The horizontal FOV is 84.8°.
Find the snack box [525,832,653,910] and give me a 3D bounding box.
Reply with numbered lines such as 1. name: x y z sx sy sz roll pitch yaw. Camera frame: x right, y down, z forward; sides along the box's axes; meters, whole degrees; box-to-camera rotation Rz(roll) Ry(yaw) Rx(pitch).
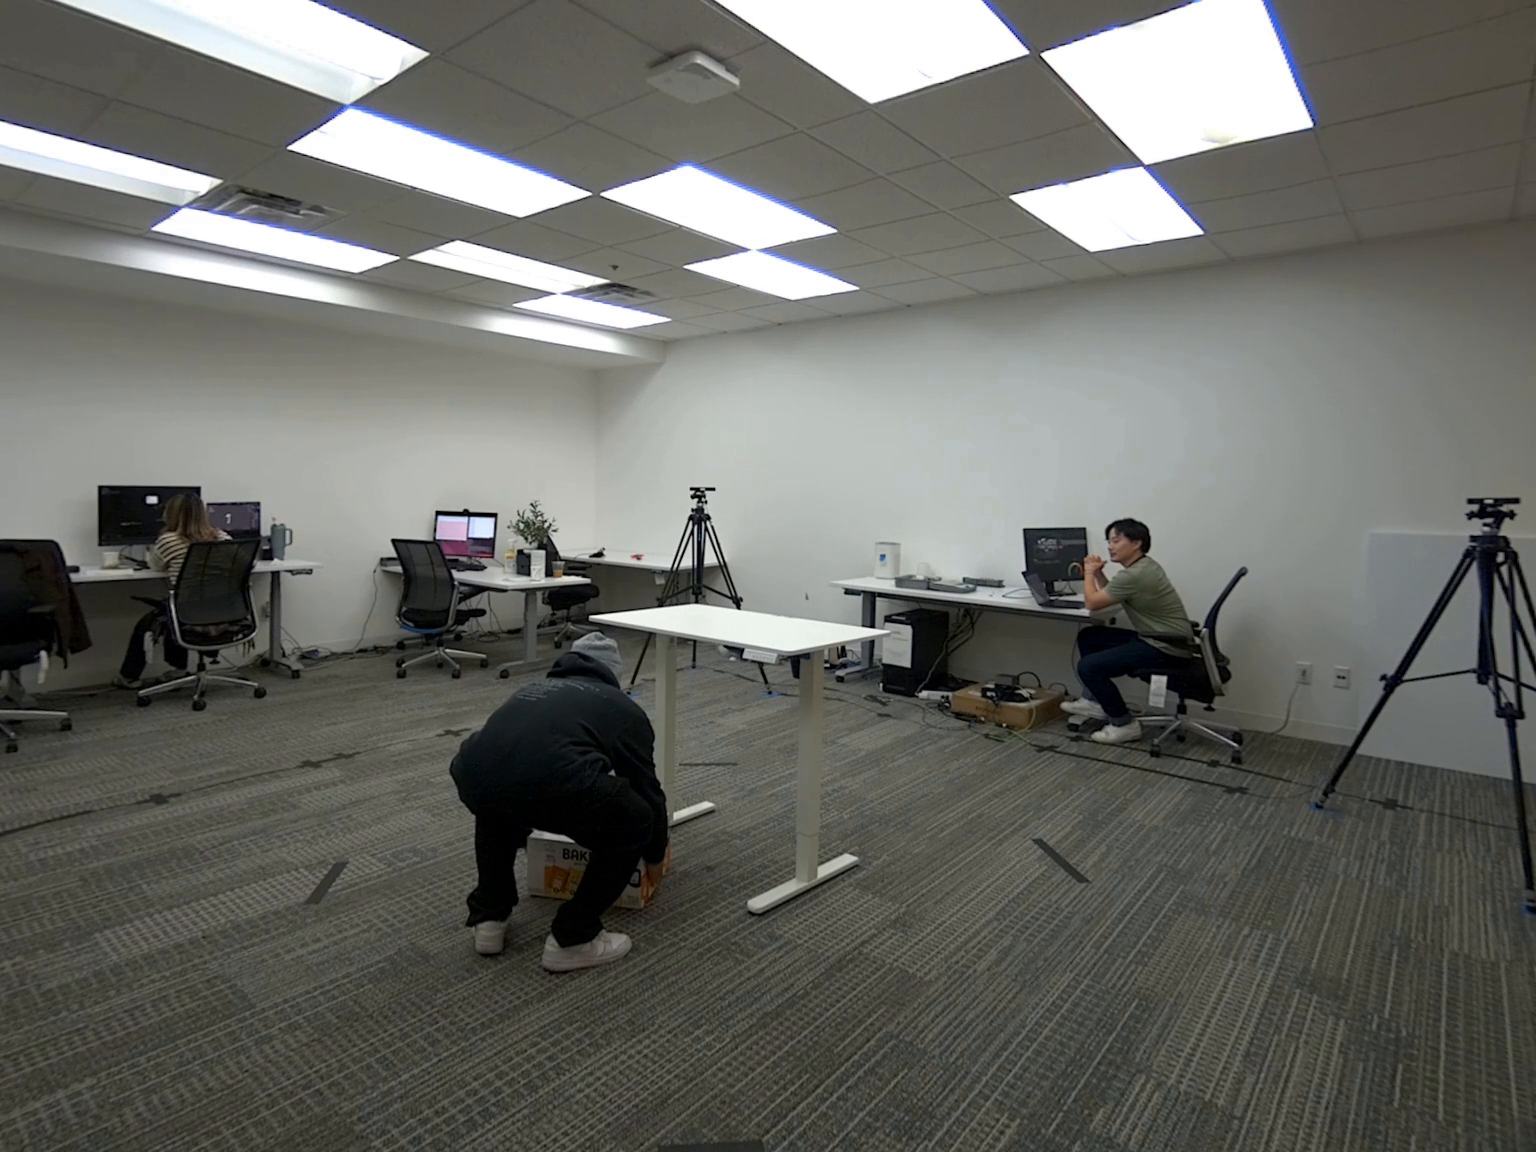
1. snack box: -0.598 0.972 2.984 0.411 0.205 0.337 2 4 12
